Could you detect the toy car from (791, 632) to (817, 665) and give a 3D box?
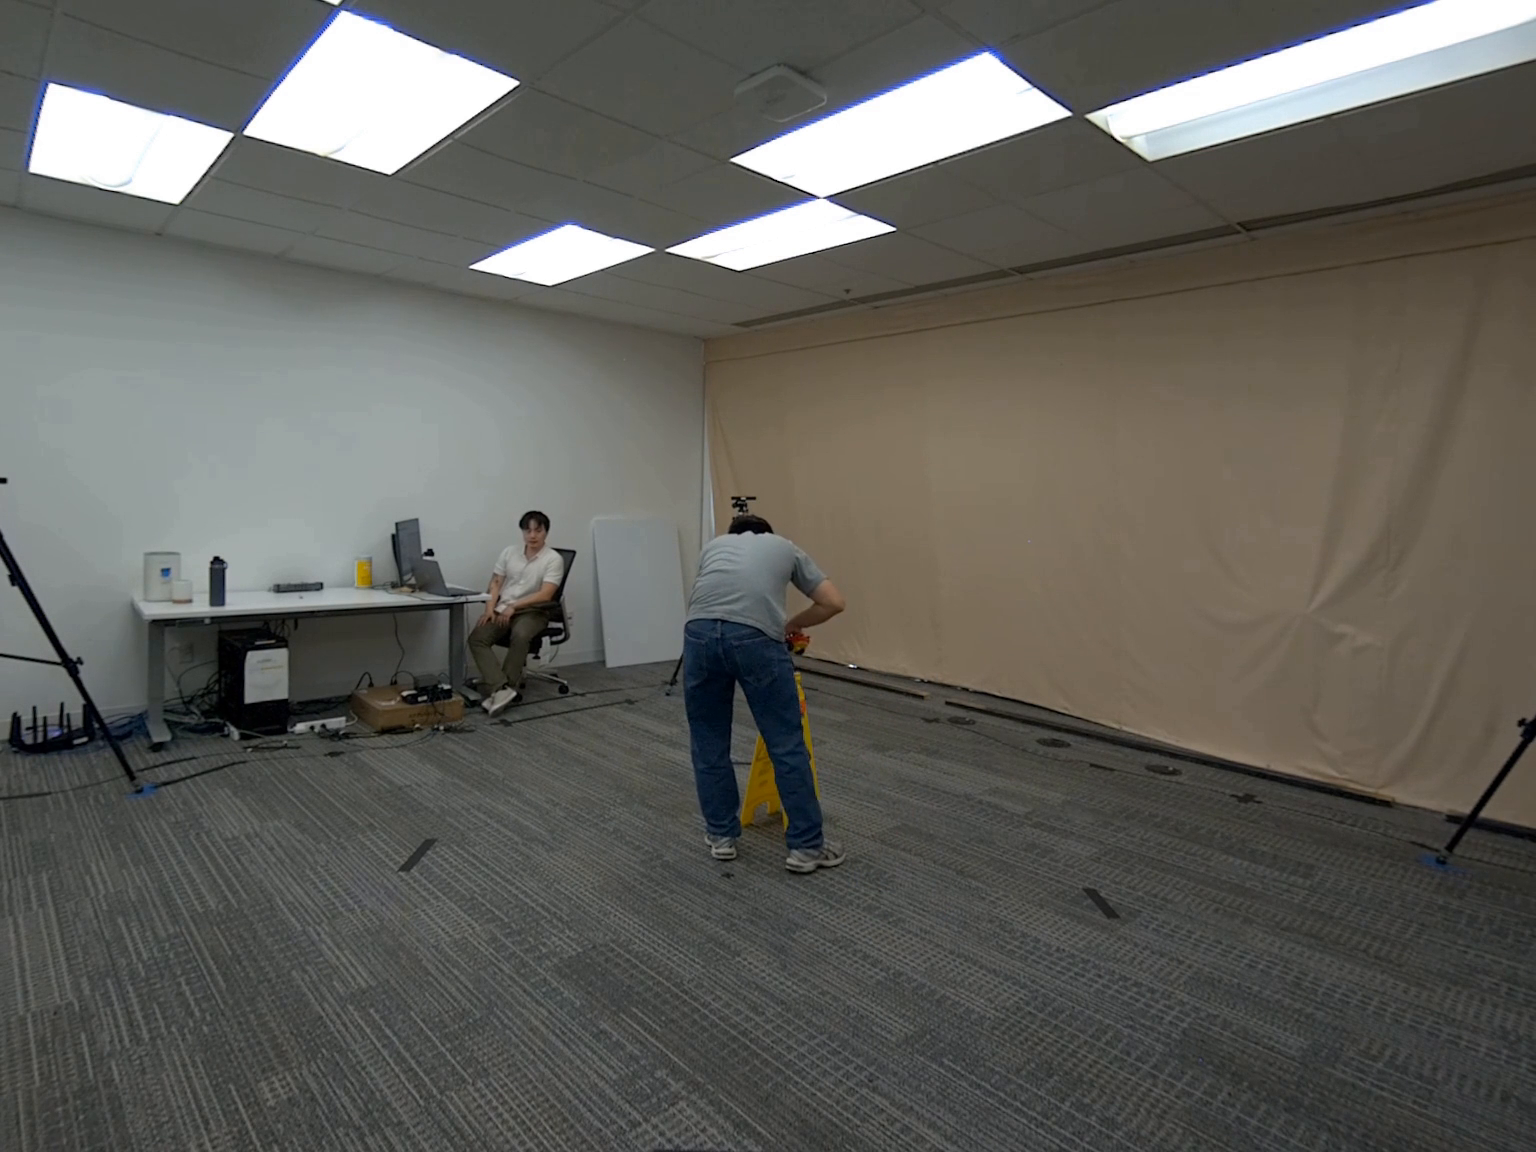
[{"bbox_3d":[0.057,0.327,3.593,0.256,0.085,0.126,-35,-33,23],"label":"toy car"}]
